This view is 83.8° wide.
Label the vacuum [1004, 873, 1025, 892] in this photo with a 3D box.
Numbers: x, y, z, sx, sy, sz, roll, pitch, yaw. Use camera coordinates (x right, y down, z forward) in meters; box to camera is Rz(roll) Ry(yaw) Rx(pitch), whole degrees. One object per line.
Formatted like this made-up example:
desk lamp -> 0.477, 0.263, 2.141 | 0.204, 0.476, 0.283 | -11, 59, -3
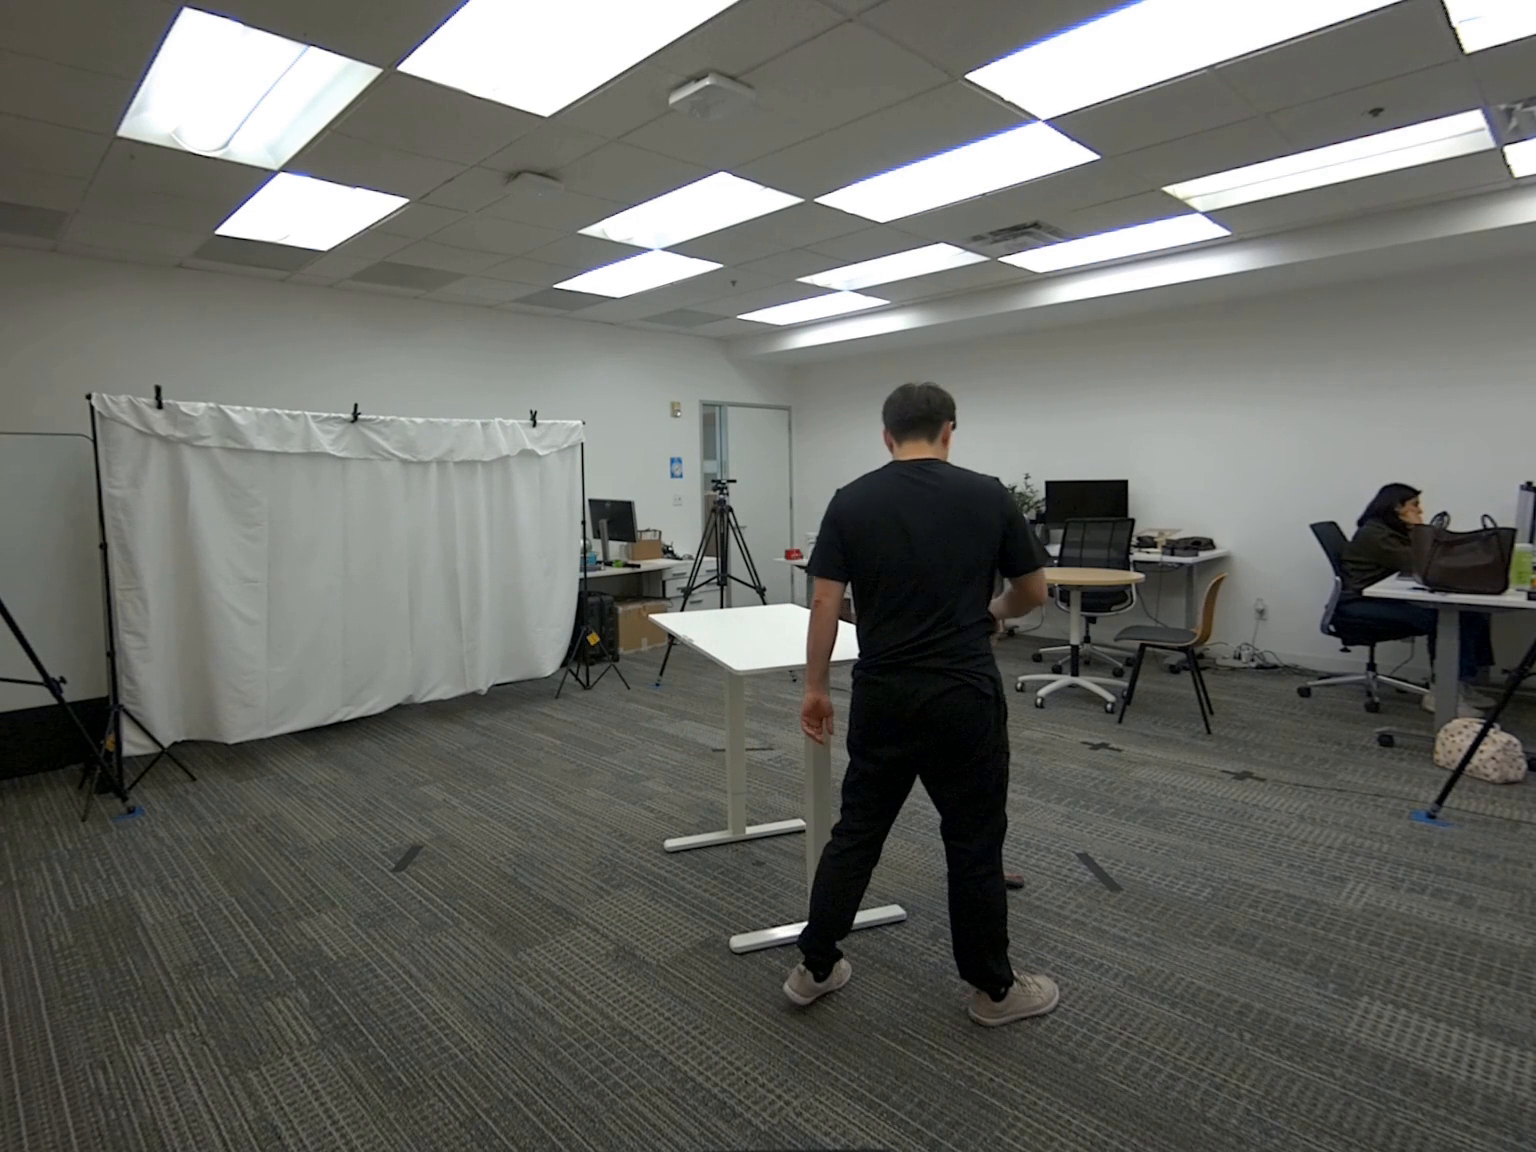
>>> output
vacuum -> 0.682, 0.605, 2.674 | 0.257, 1.023, 0.145 | 1, 28, 19
